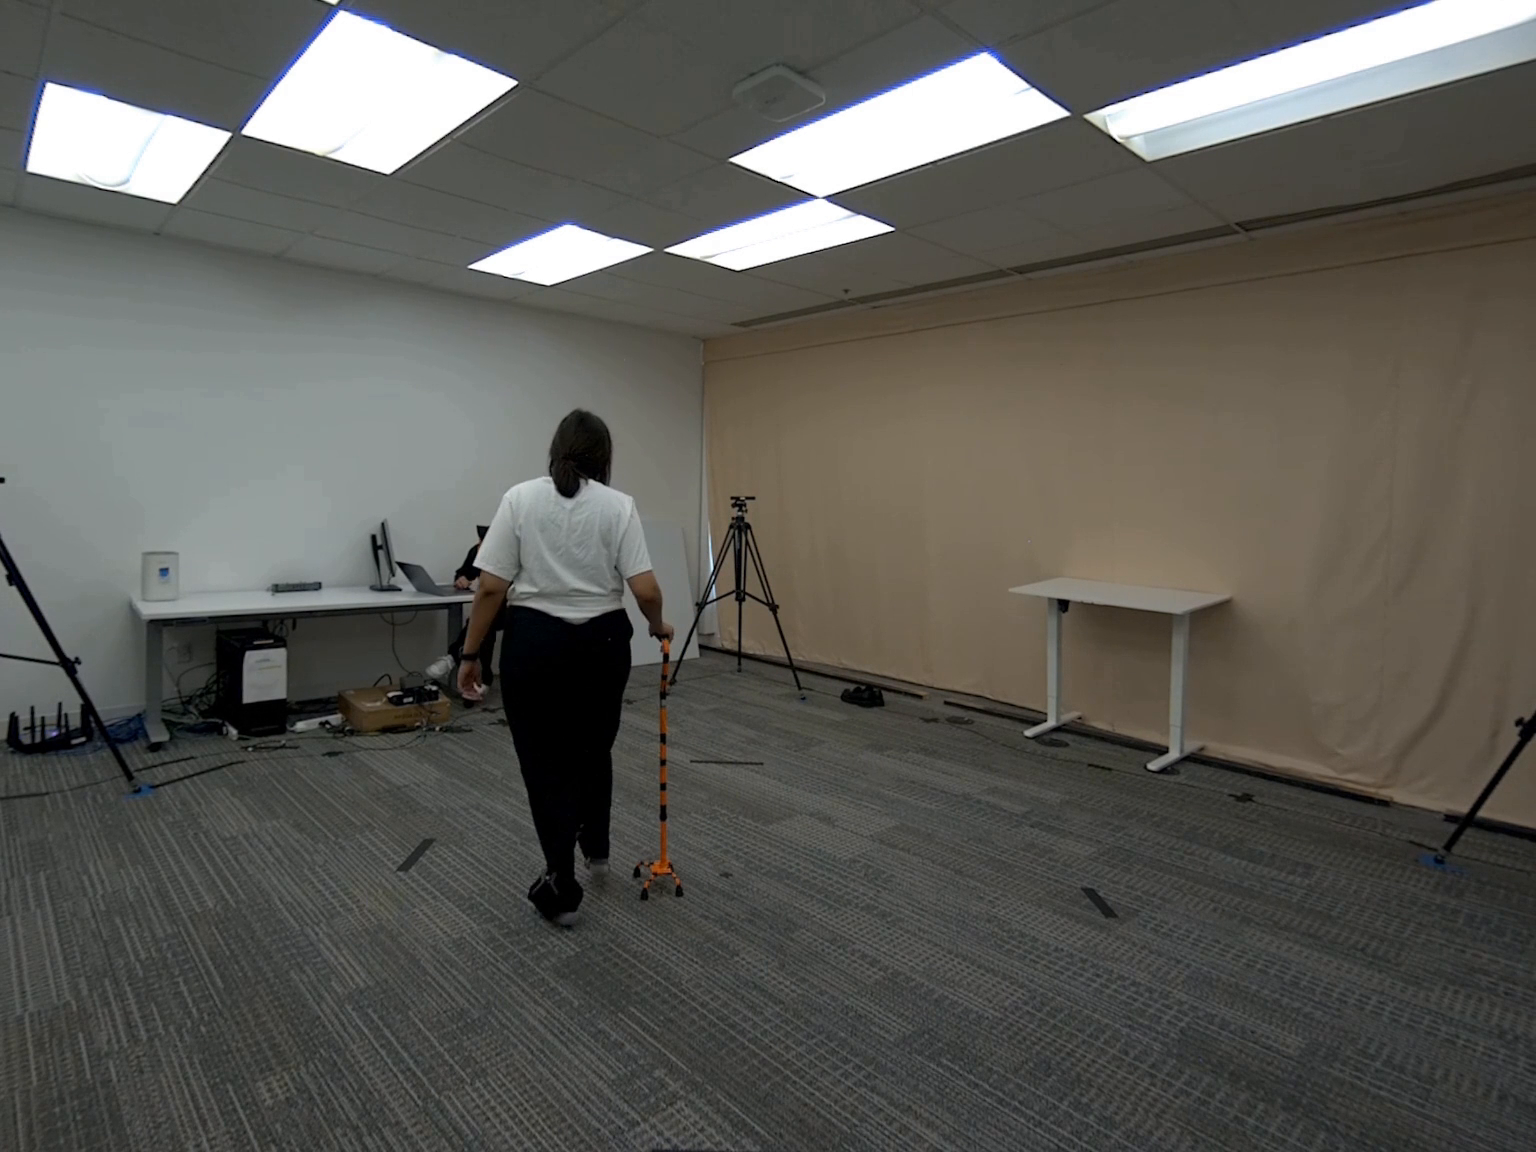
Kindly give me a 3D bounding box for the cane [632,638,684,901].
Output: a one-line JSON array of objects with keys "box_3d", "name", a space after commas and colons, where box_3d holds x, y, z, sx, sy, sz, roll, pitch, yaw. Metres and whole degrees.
[{"box_3d": [-0.391, 0.657, 2.985, 0.150, 0.906, 0.209, 0, 3, -16], "name": "cane"}]
